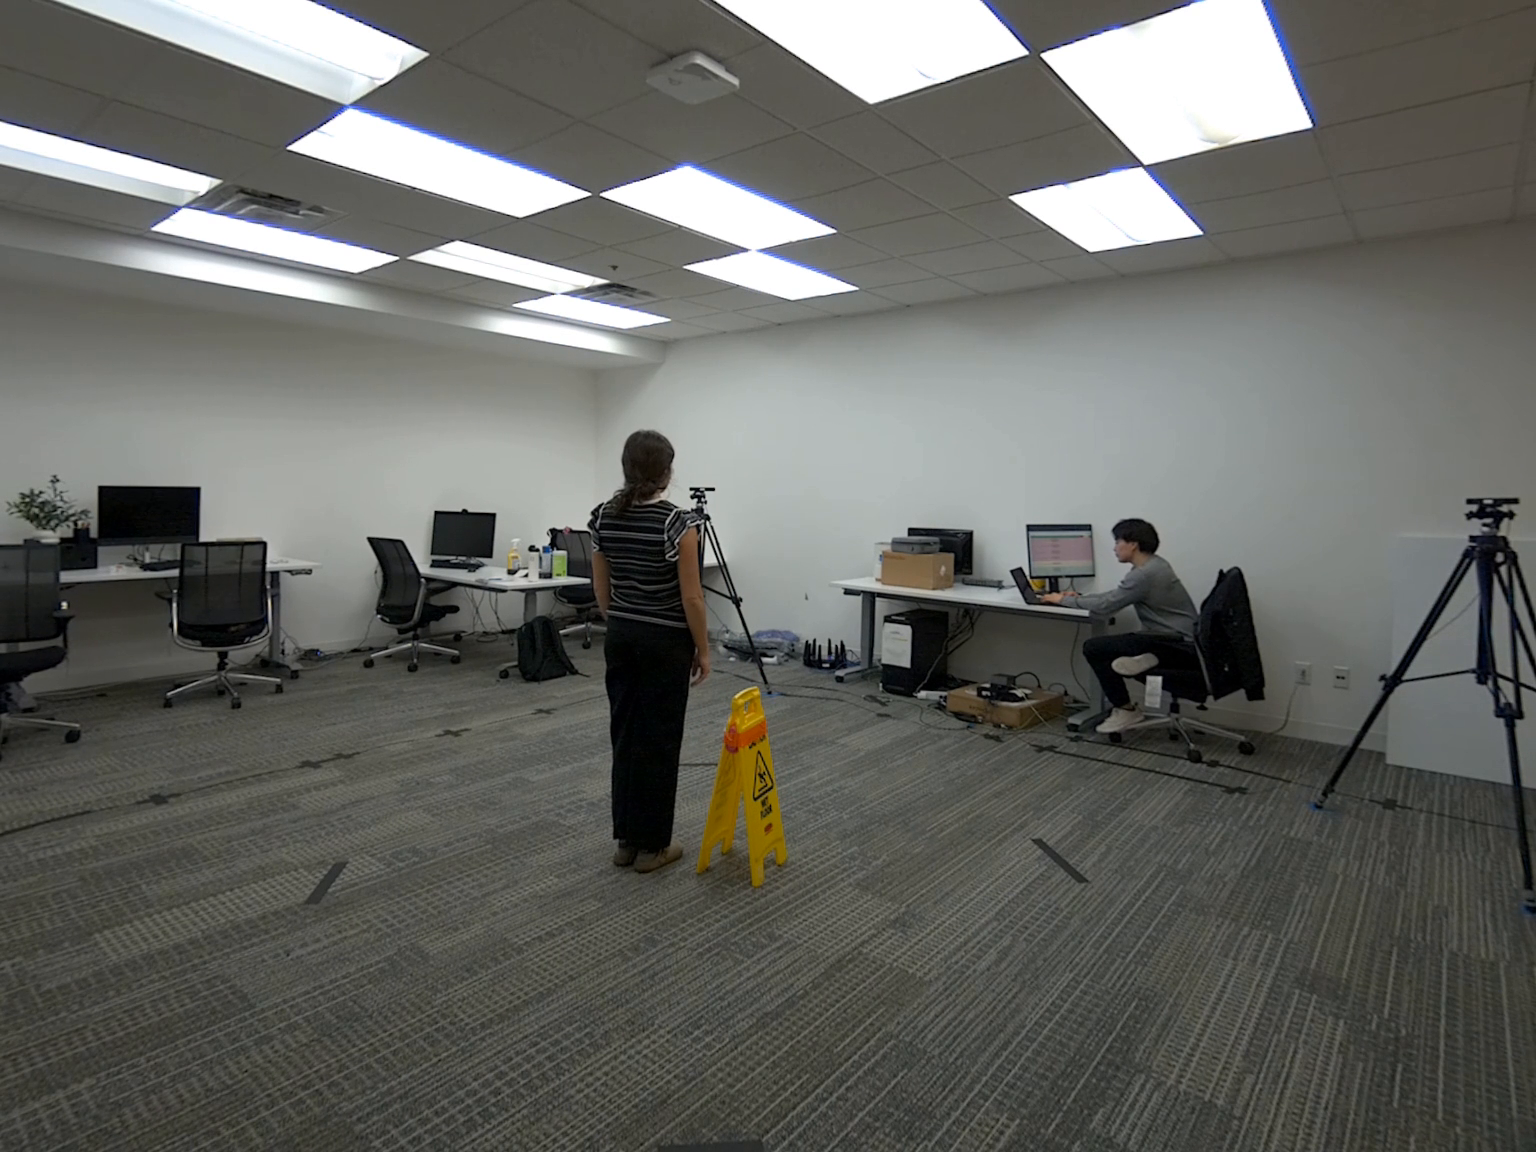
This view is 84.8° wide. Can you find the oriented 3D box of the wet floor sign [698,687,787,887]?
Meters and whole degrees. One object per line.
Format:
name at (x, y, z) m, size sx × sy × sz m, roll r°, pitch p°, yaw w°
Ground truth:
wet floor sign at (-0.095, 0.745, 3.117) m, size 0.297 × 0.644 × 0.276 m, roll 4°, pitch 4°, yaw 24°
